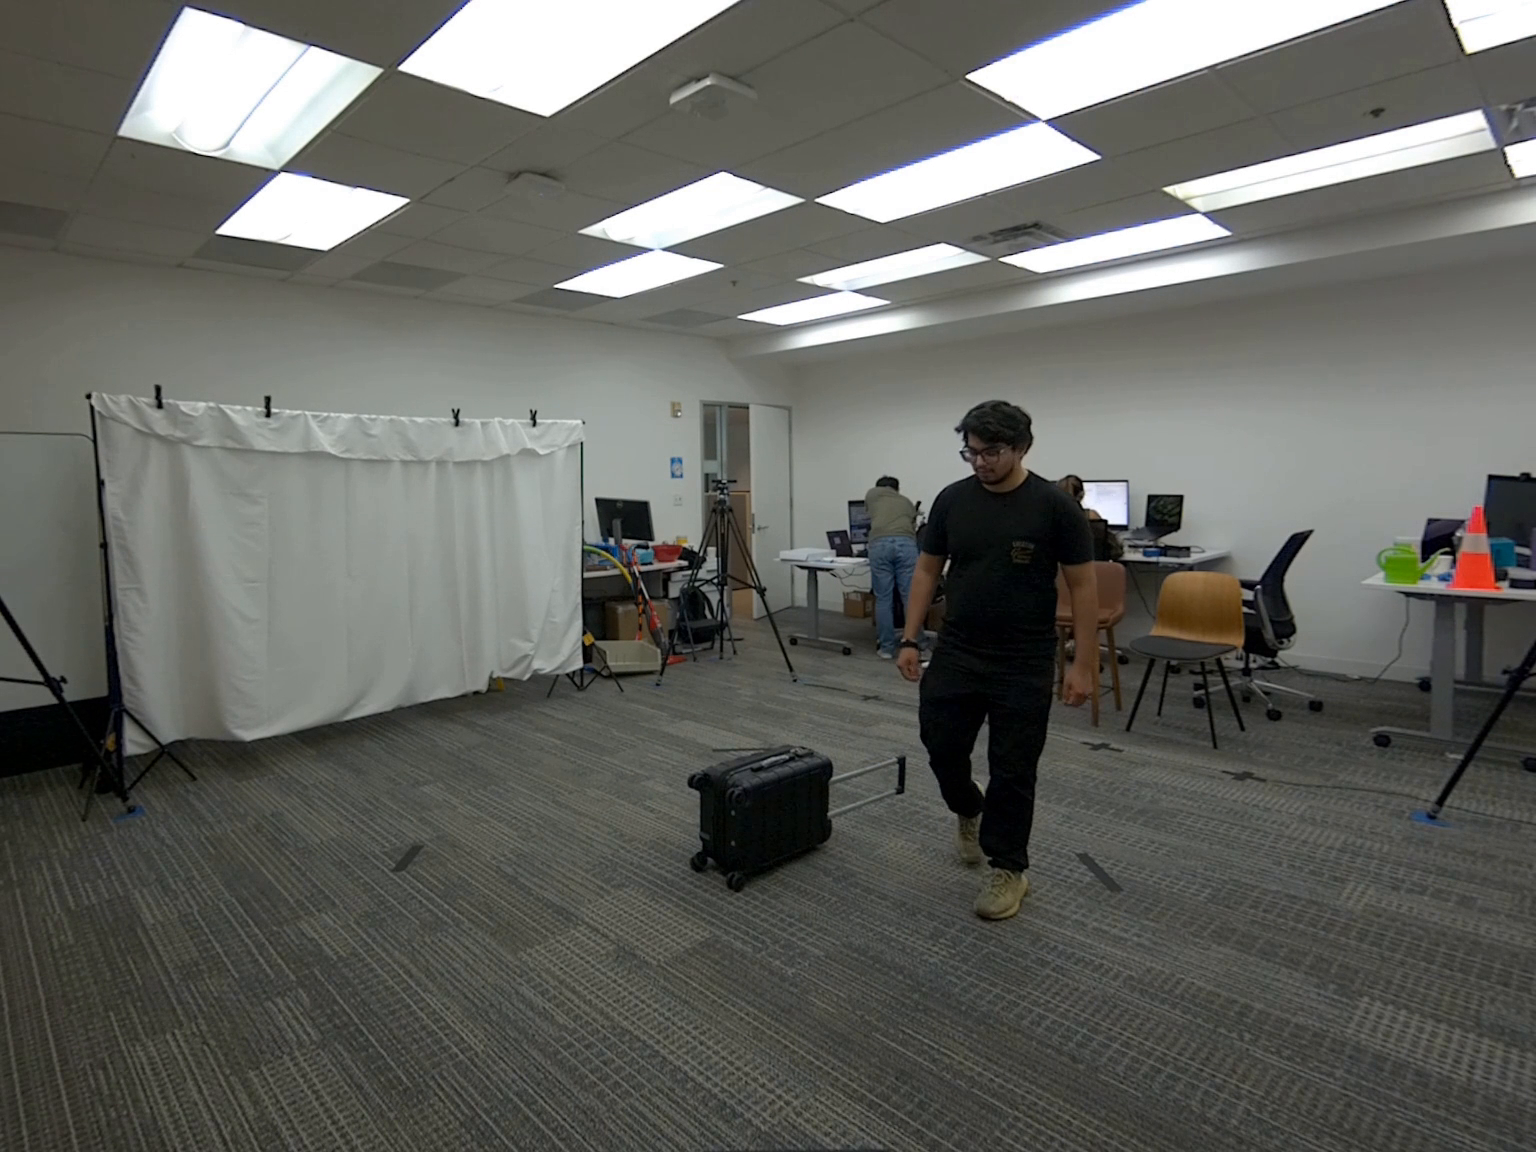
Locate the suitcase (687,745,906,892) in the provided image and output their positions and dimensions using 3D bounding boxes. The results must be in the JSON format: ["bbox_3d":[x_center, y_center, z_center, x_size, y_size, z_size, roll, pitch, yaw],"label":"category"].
[{"bbox_3d":[0.137,0.836,3.297,0.952,0.383,0.265,-6,6,-44],"label":"suitcase"}]
